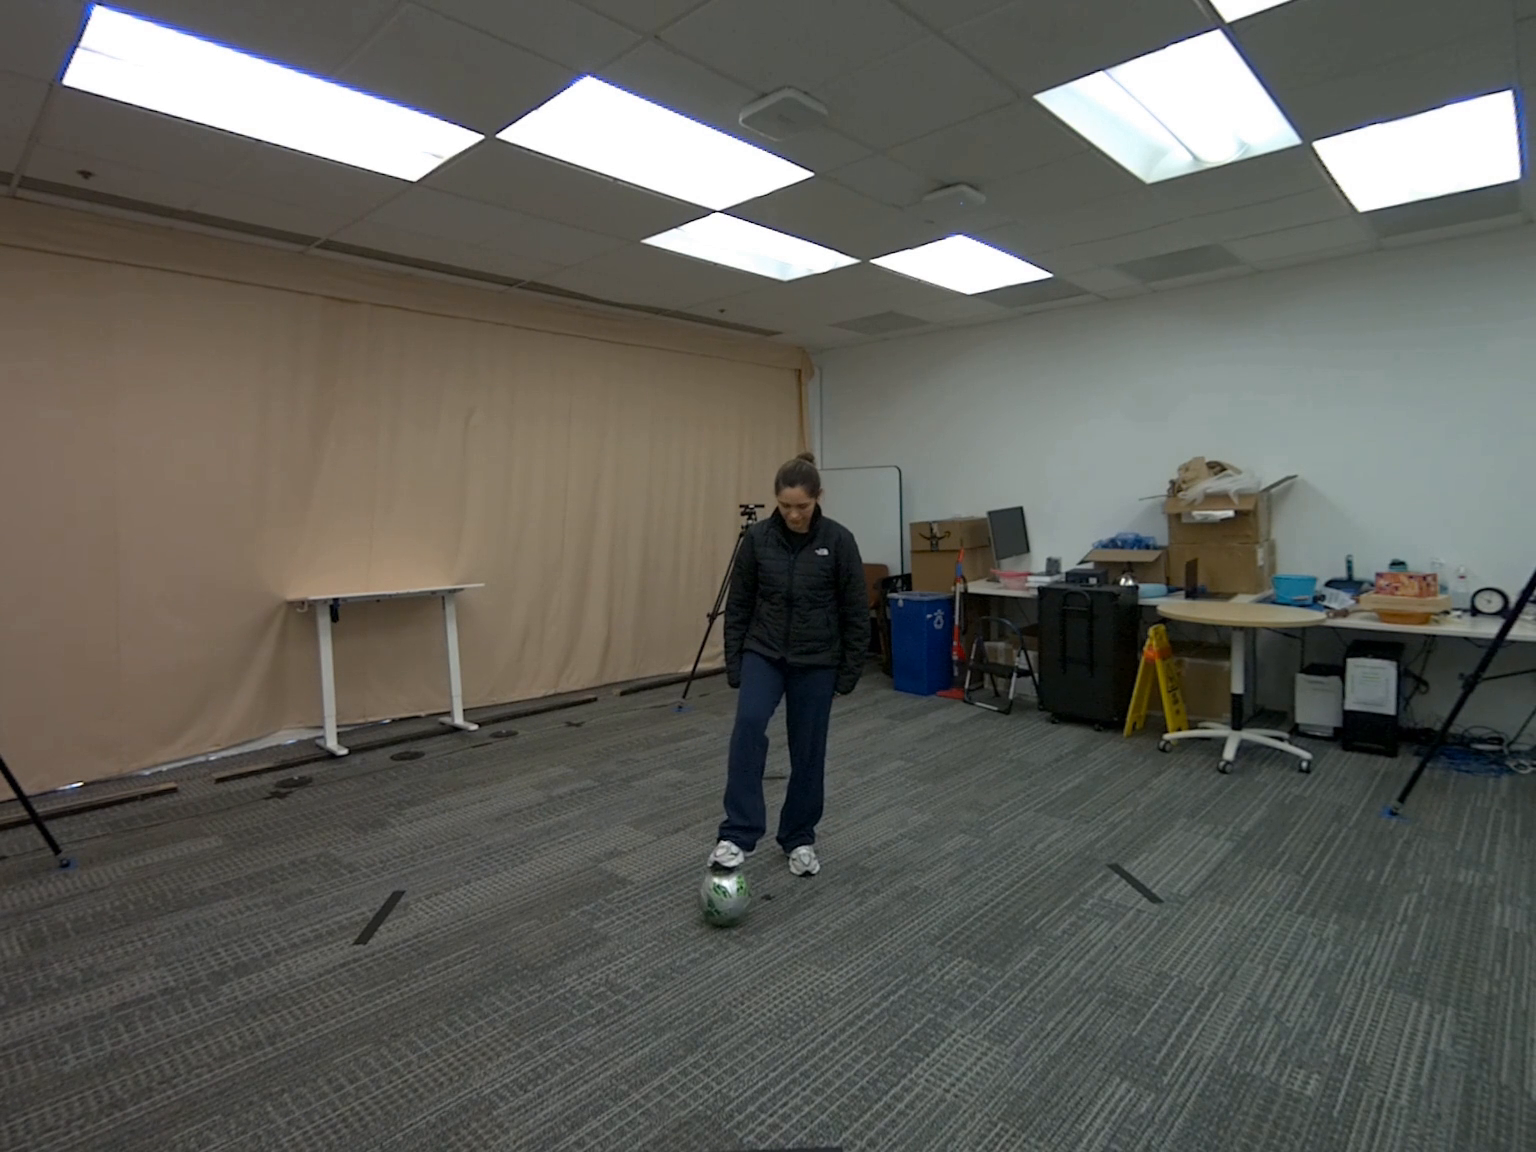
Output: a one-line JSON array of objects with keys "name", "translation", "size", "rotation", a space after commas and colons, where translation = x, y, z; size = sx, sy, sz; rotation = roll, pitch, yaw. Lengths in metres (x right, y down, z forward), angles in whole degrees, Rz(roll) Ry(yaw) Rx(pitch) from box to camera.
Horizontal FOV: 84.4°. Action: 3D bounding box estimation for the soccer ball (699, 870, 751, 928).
[{"name": "soccer ball", "translation": [-0.142, 1.061, 2.811], "size": [0.187, 0.187, 0.188], "rotation": [-1, 4, -2]}]
